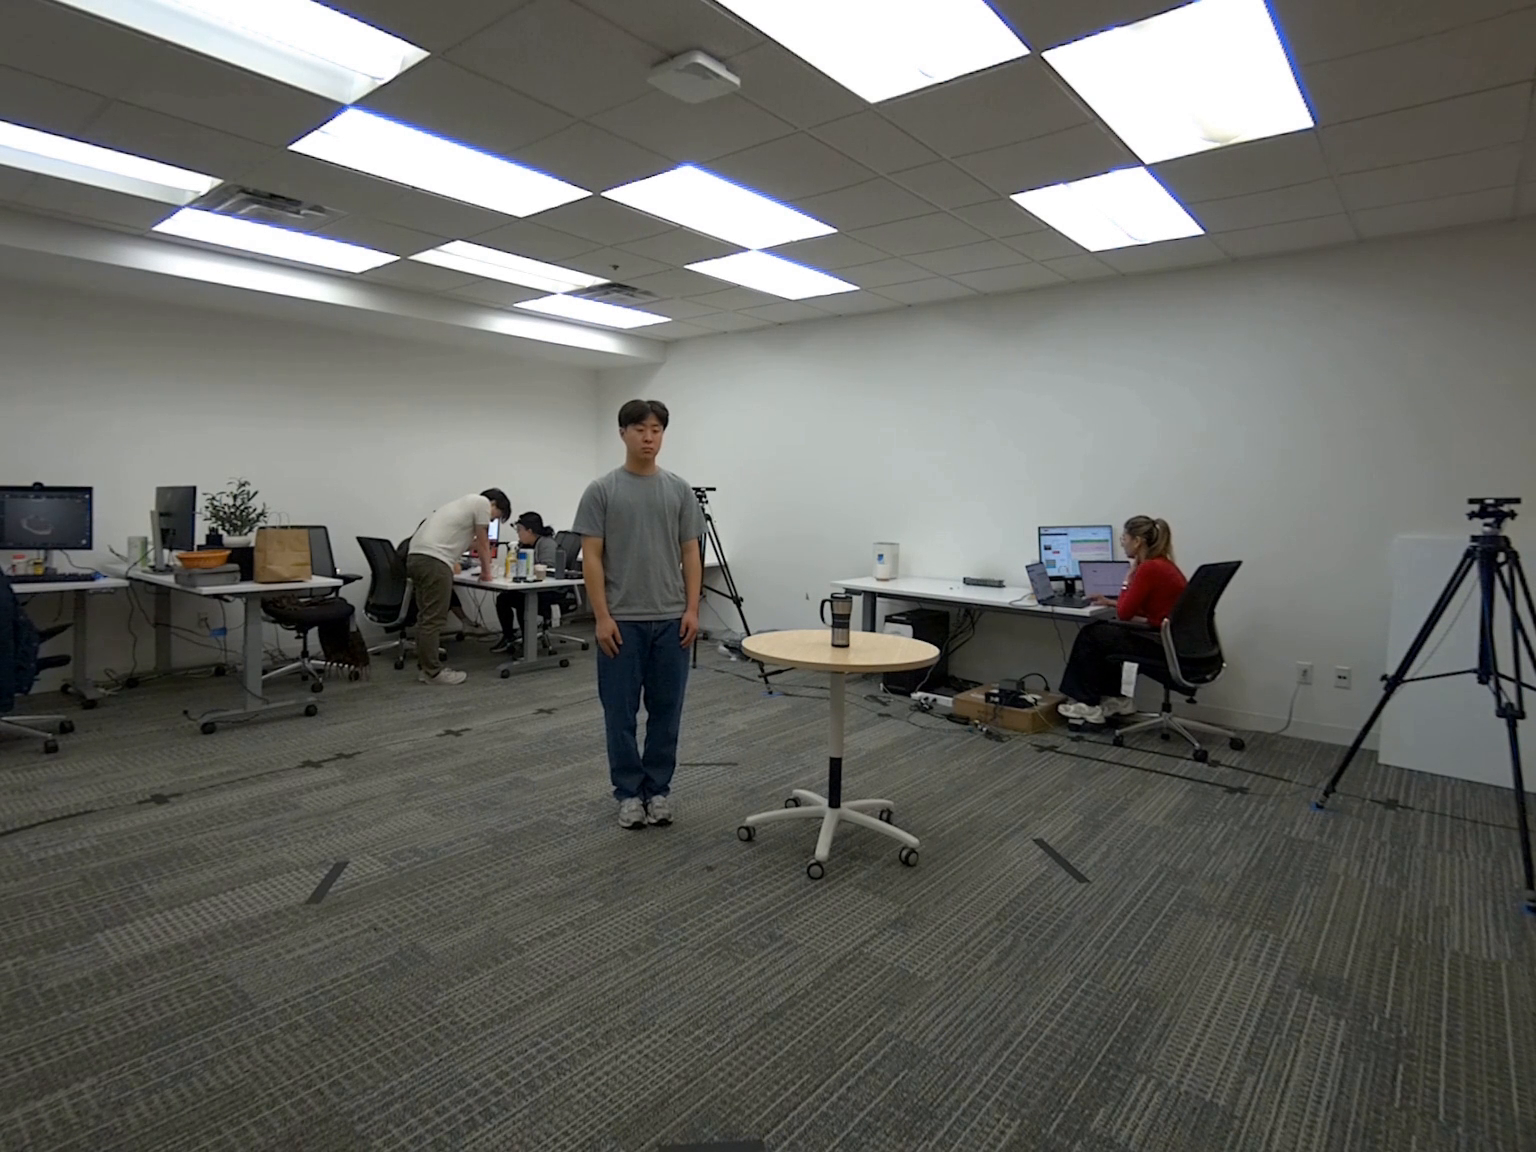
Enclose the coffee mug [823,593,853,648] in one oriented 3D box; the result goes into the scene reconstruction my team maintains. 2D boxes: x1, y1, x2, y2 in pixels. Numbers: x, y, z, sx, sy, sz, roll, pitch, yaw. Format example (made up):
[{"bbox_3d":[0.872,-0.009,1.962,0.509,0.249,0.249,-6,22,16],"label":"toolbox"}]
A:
[{"bbox_3d":[0.261,0.168,3.325,0.126,0.201,0.086,8,10,30],"label":"coffee mug"}]
